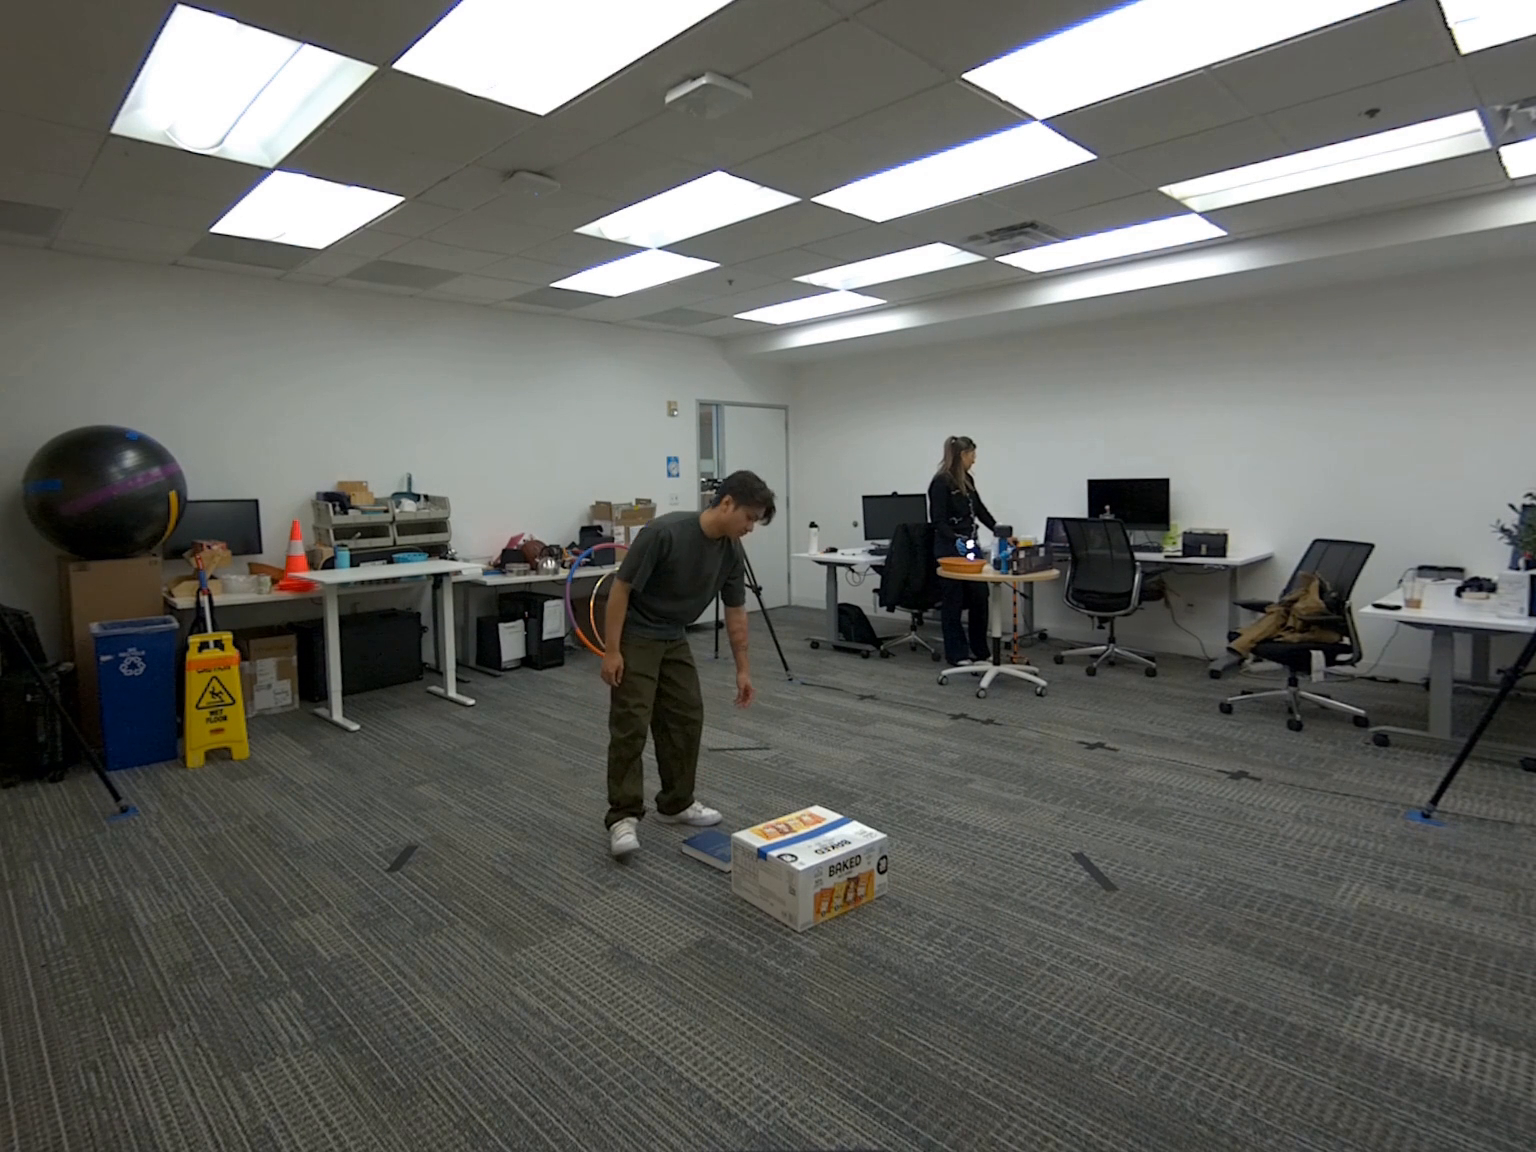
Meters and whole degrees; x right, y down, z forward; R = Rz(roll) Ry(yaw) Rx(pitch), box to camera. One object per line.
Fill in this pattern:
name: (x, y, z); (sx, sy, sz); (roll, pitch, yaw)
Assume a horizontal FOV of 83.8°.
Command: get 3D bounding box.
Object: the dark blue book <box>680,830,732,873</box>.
dark blue book: (-0.175, 1.018, 3.172); (0.253, 0.045, 0.159); (6, 9, 44)
